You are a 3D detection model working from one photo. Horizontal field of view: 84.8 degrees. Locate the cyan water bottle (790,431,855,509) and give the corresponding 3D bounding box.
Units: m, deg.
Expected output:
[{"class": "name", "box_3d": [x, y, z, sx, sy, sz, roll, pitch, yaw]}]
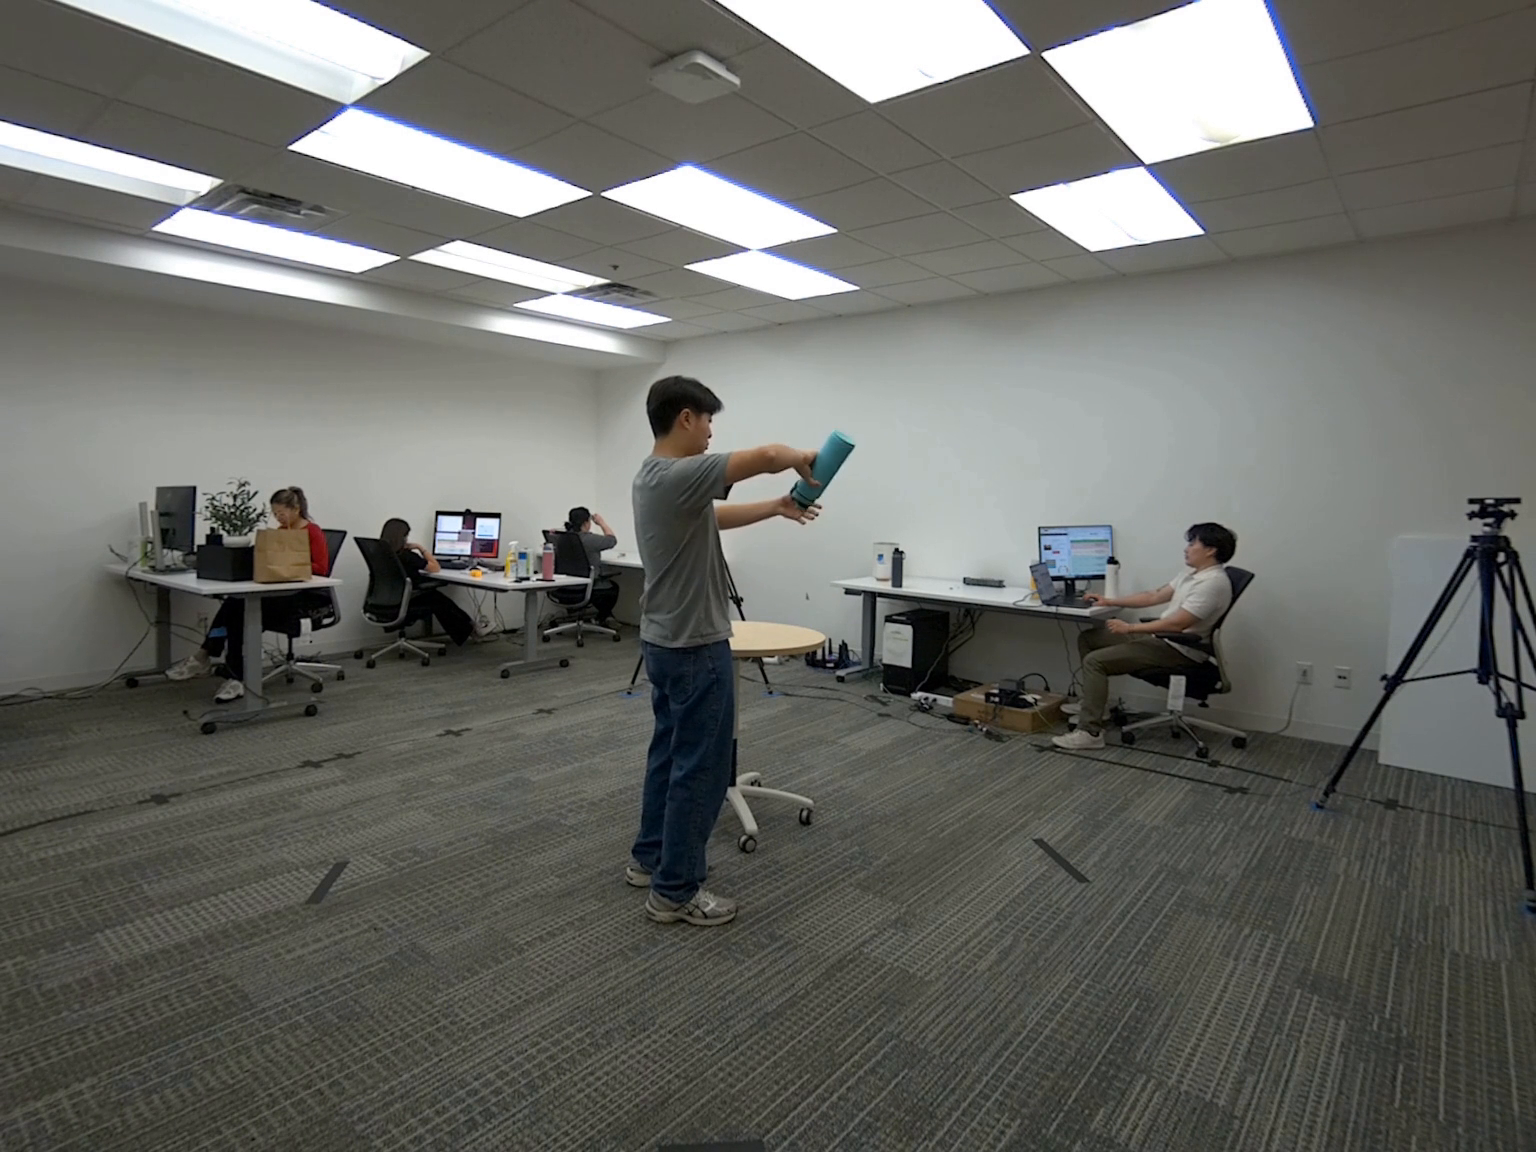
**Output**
[{"class": "cyan water bottle", "box_3d": [0.157, -0.319, 2.780, 0.091, 0.282, 0.094, 27, 22, -14]}]
